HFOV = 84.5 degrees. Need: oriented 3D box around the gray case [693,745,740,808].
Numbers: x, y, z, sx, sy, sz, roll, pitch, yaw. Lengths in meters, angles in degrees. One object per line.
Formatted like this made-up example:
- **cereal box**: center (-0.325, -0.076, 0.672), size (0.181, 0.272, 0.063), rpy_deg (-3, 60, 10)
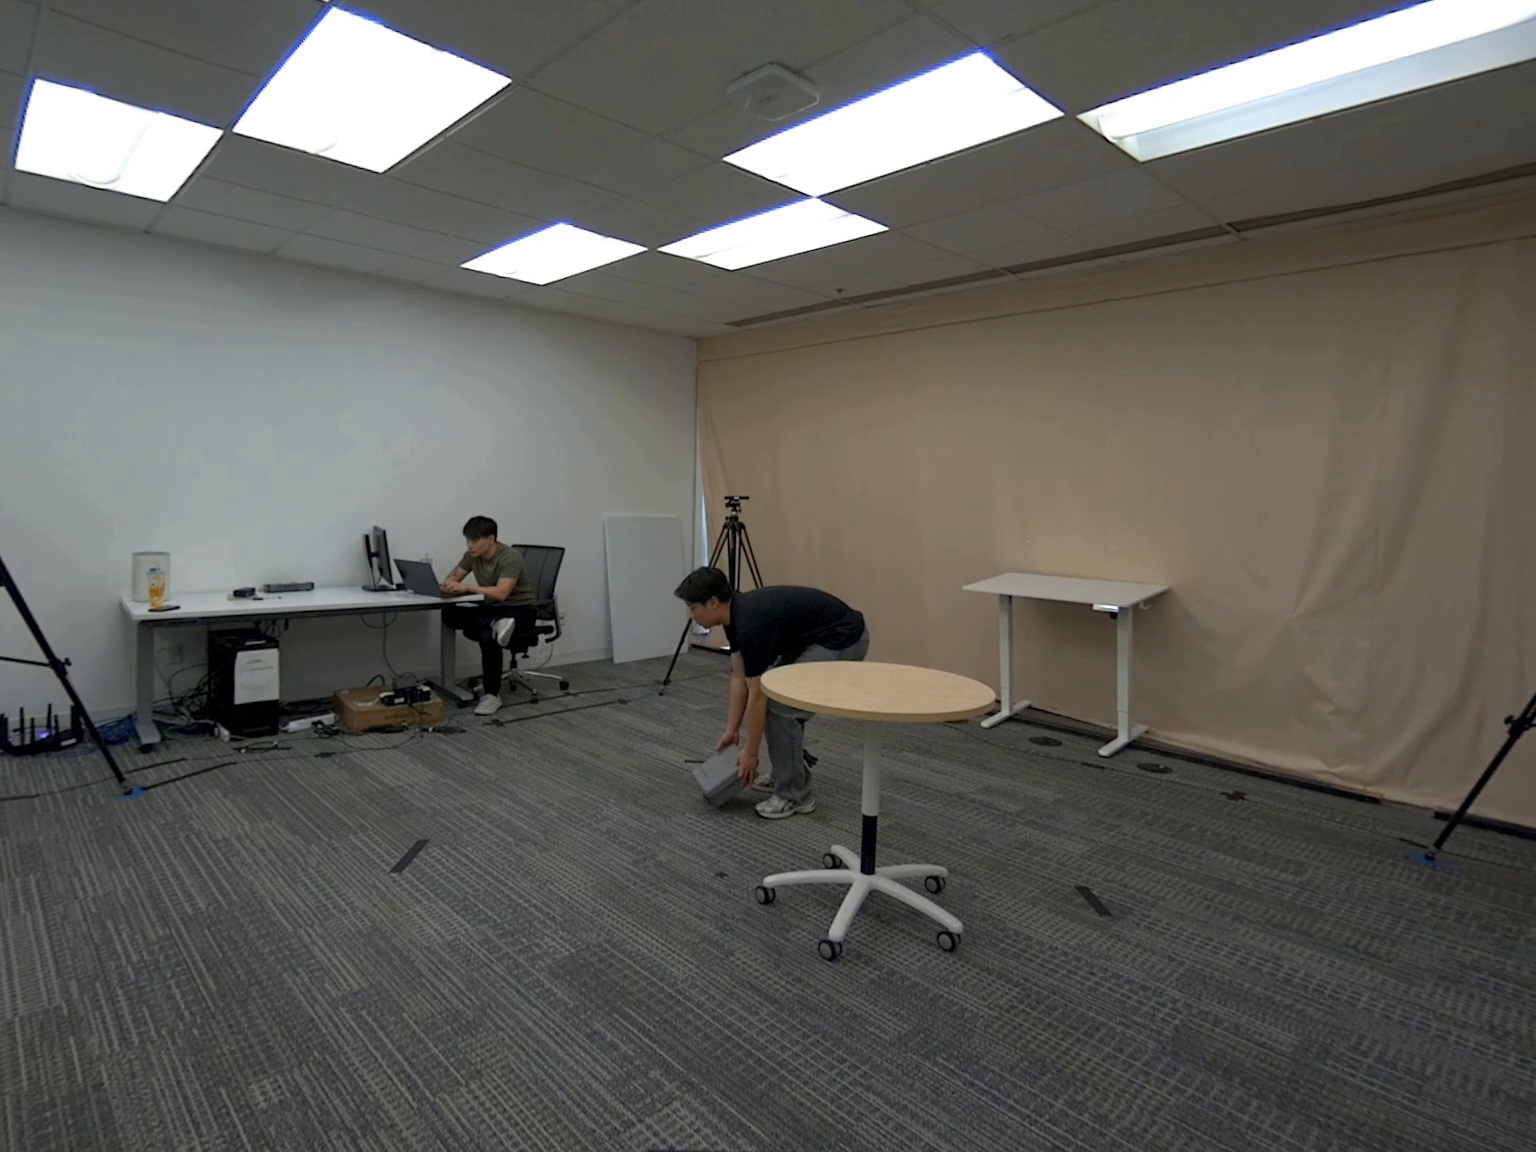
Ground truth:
- **gray case**: center (-0.199, 0.878, 3.811), size (0.286, 0.101, 0.268), rpy_deg (-32, 18, -11)
